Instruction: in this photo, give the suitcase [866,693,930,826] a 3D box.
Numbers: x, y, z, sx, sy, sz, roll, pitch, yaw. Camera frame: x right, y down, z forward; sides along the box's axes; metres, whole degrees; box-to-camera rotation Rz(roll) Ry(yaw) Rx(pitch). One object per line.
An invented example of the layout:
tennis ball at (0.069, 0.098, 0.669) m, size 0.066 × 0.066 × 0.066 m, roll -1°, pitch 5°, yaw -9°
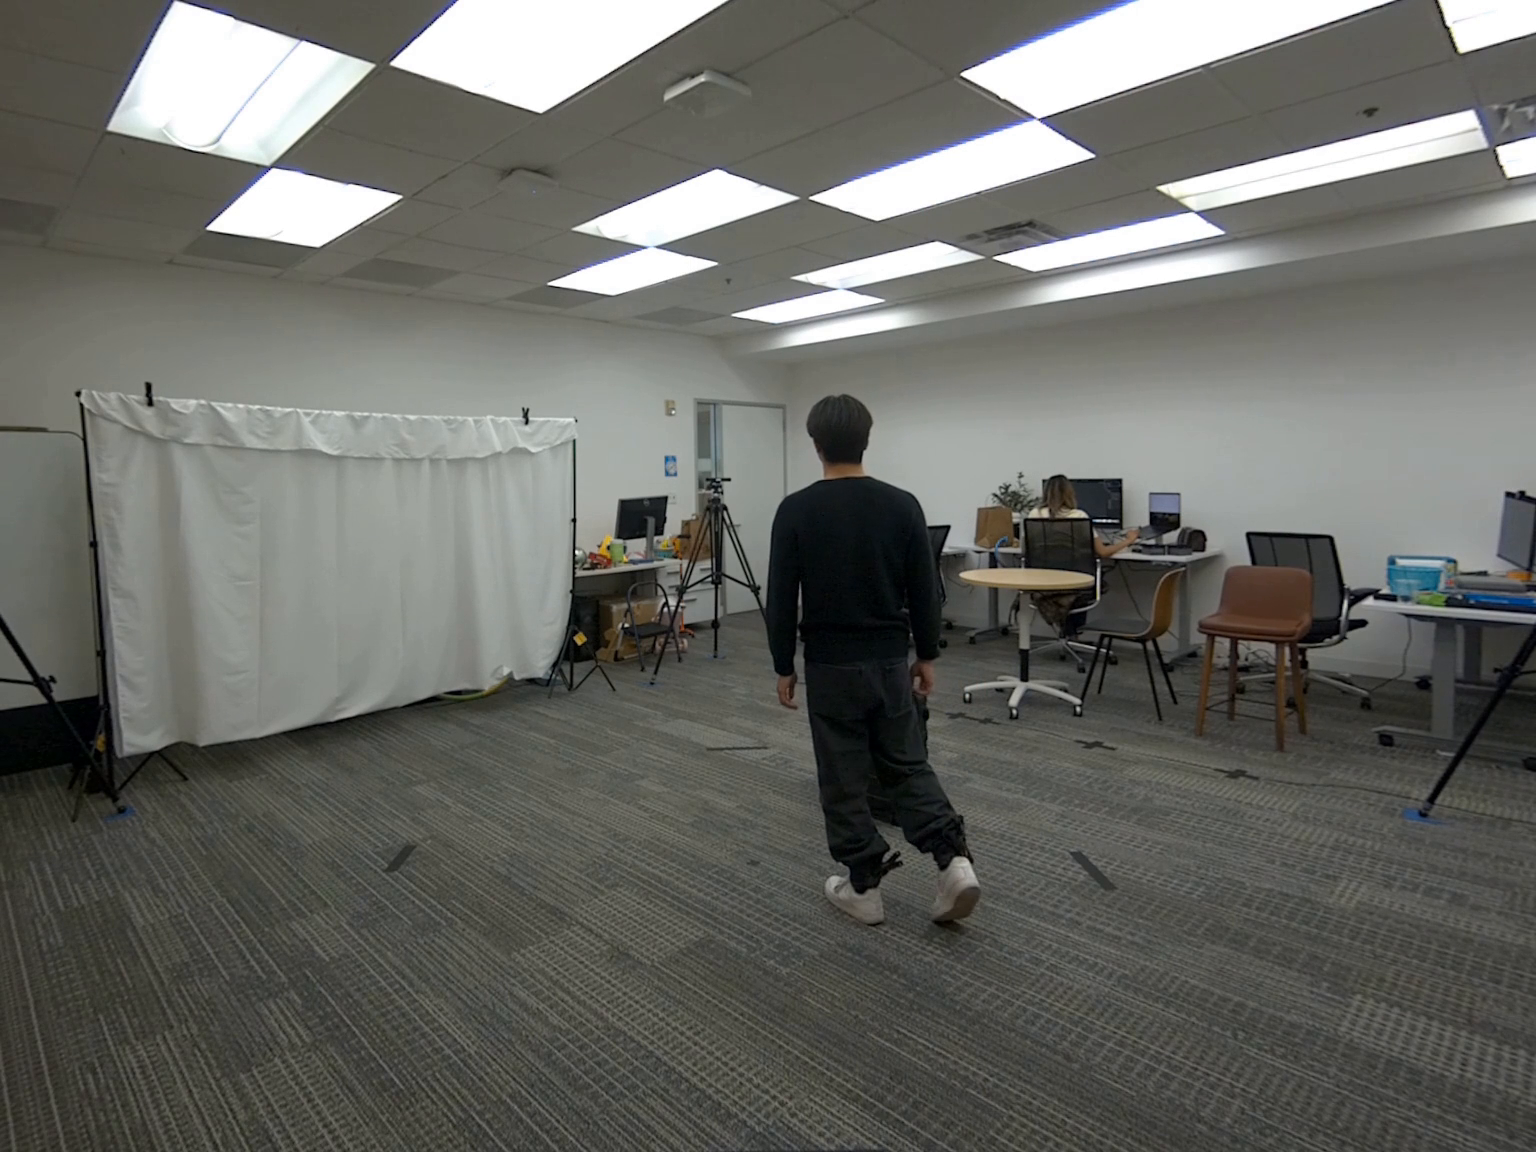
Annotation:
suitcase at (0.476, 0.706, 3.577) m, size 0.387 × 0.547 × 0.242 m, roll 4°, pitch 6°, yaw 44°
